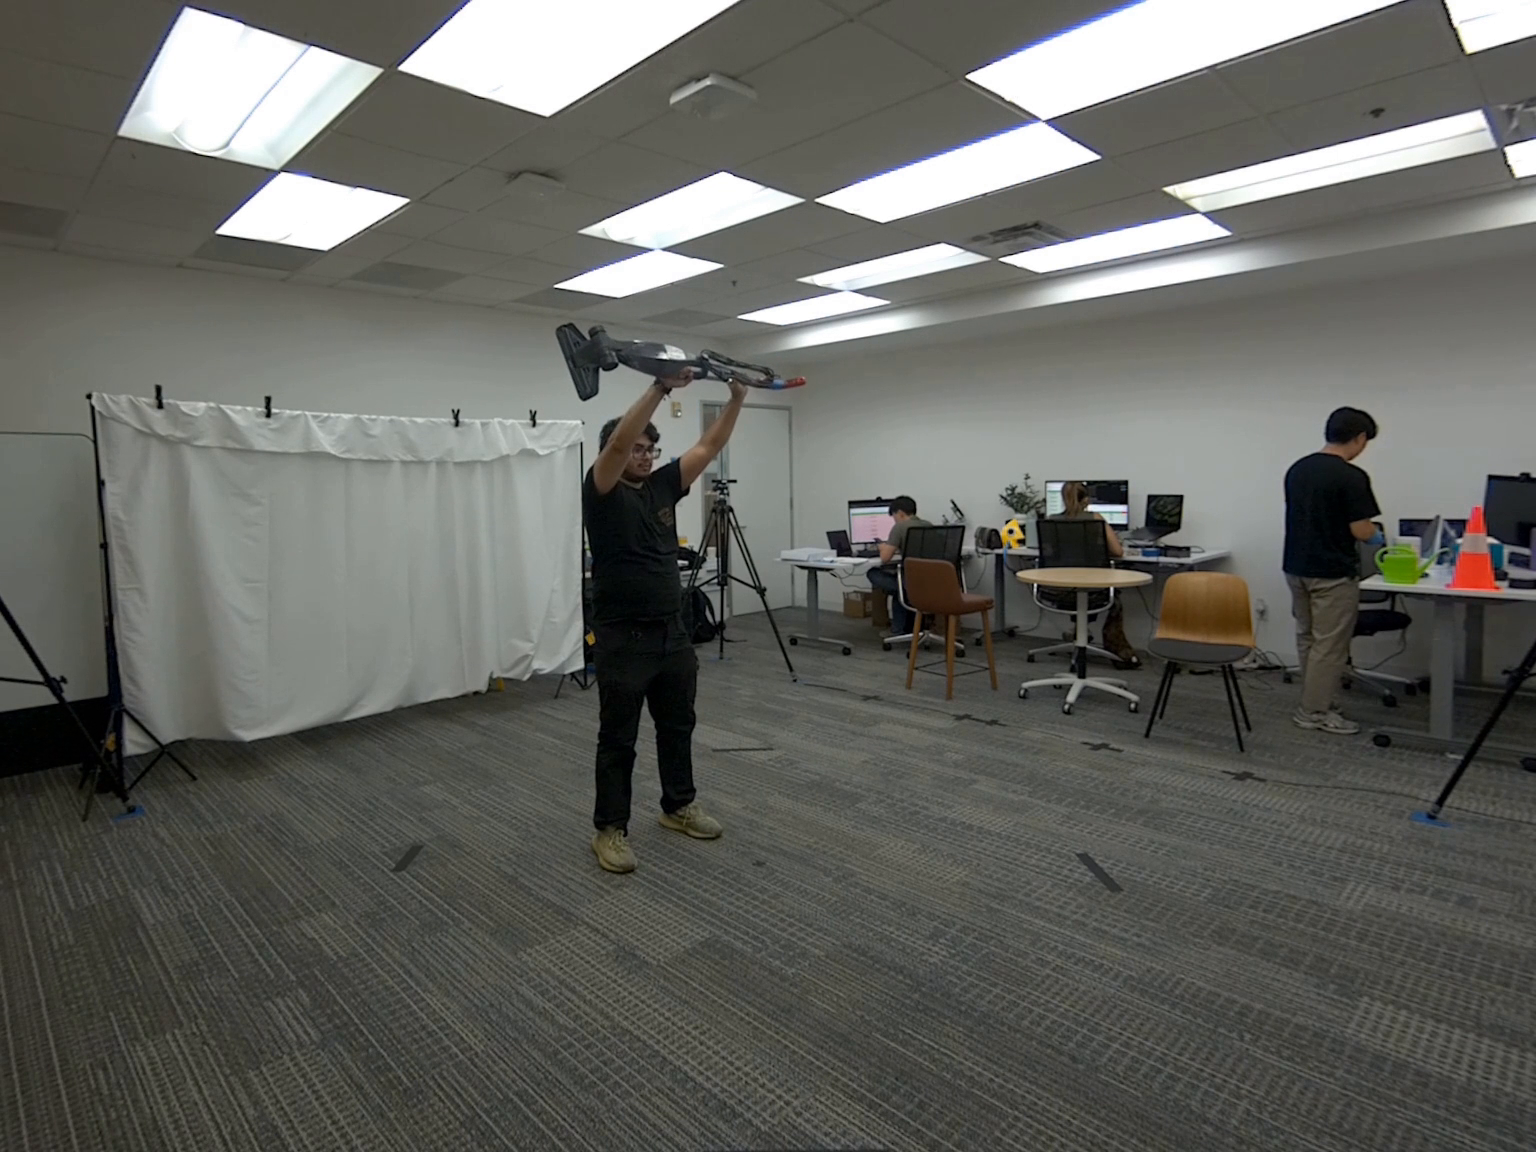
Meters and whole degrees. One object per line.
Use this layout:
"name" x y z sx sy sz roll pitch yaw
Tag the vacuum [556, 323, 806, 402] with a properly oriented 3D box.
"vacuum" -0.203 -0.709 2.908 1.023 0.257 0.145 -9 -21 -48
